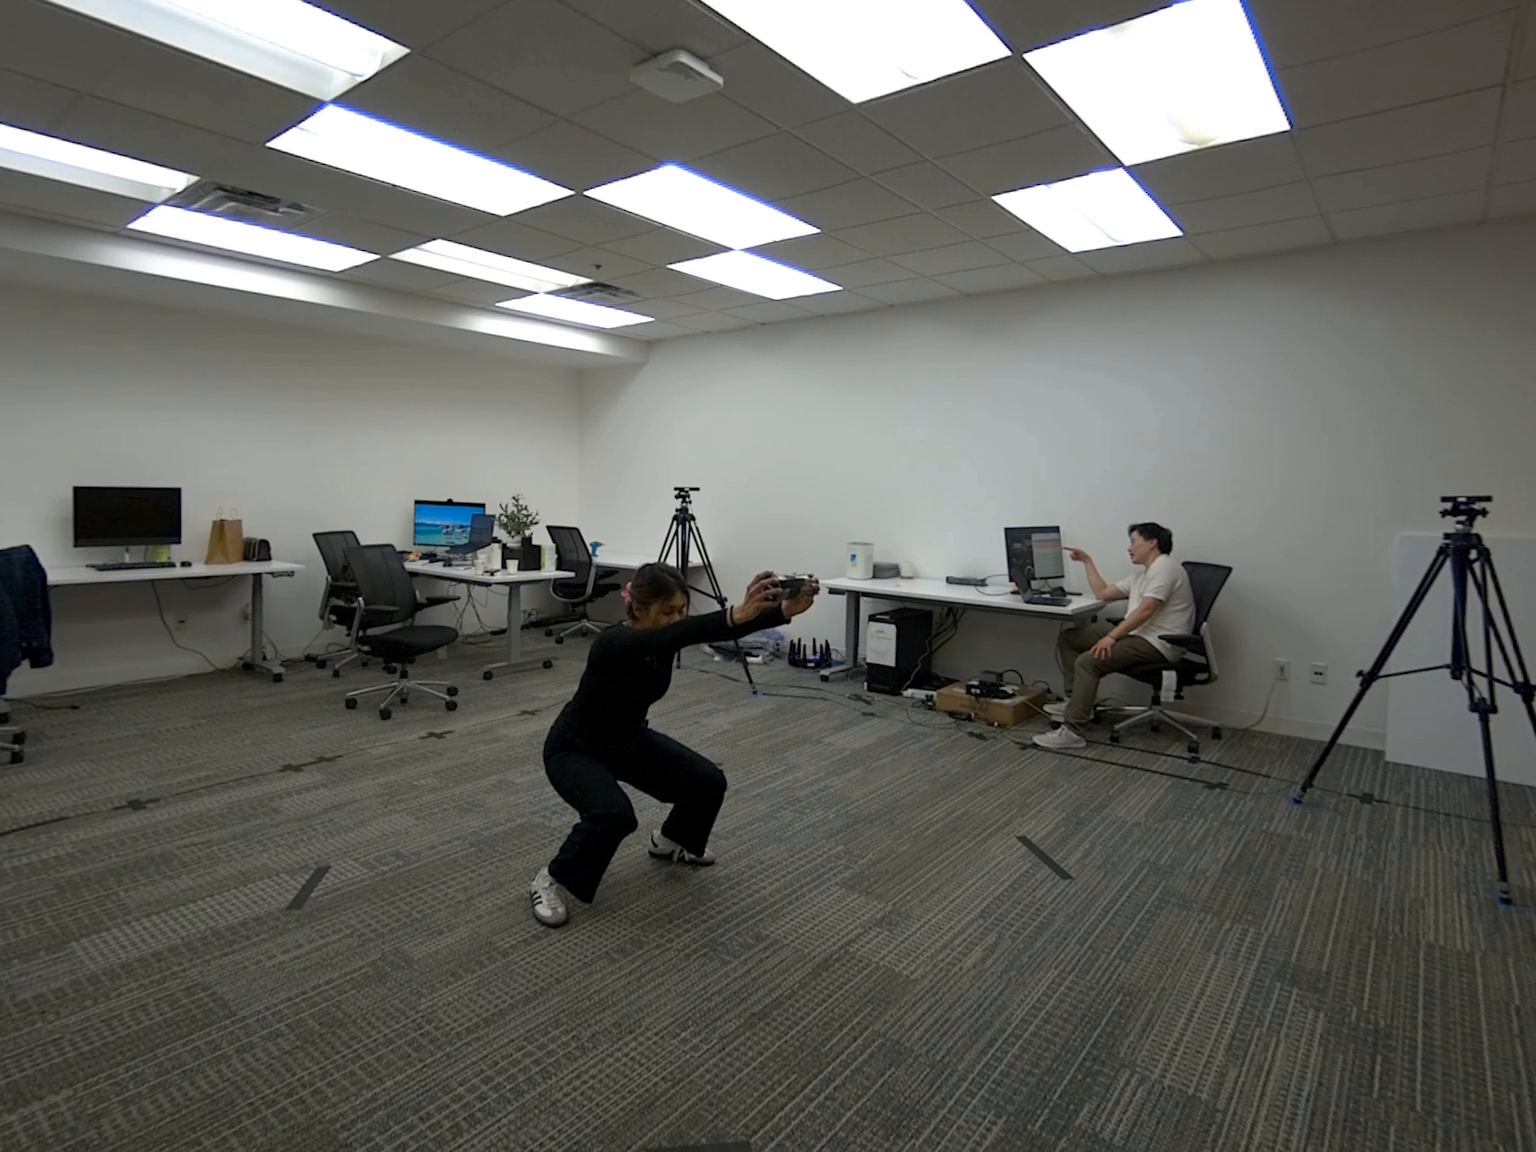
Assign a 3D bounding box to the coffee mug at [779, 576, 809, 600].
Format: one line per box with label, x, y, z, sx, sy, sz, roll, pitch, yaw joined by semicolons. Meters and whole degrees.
coffee mug;0.034;0.040;2.414;0.126;0.087;0.197;12;10;43
